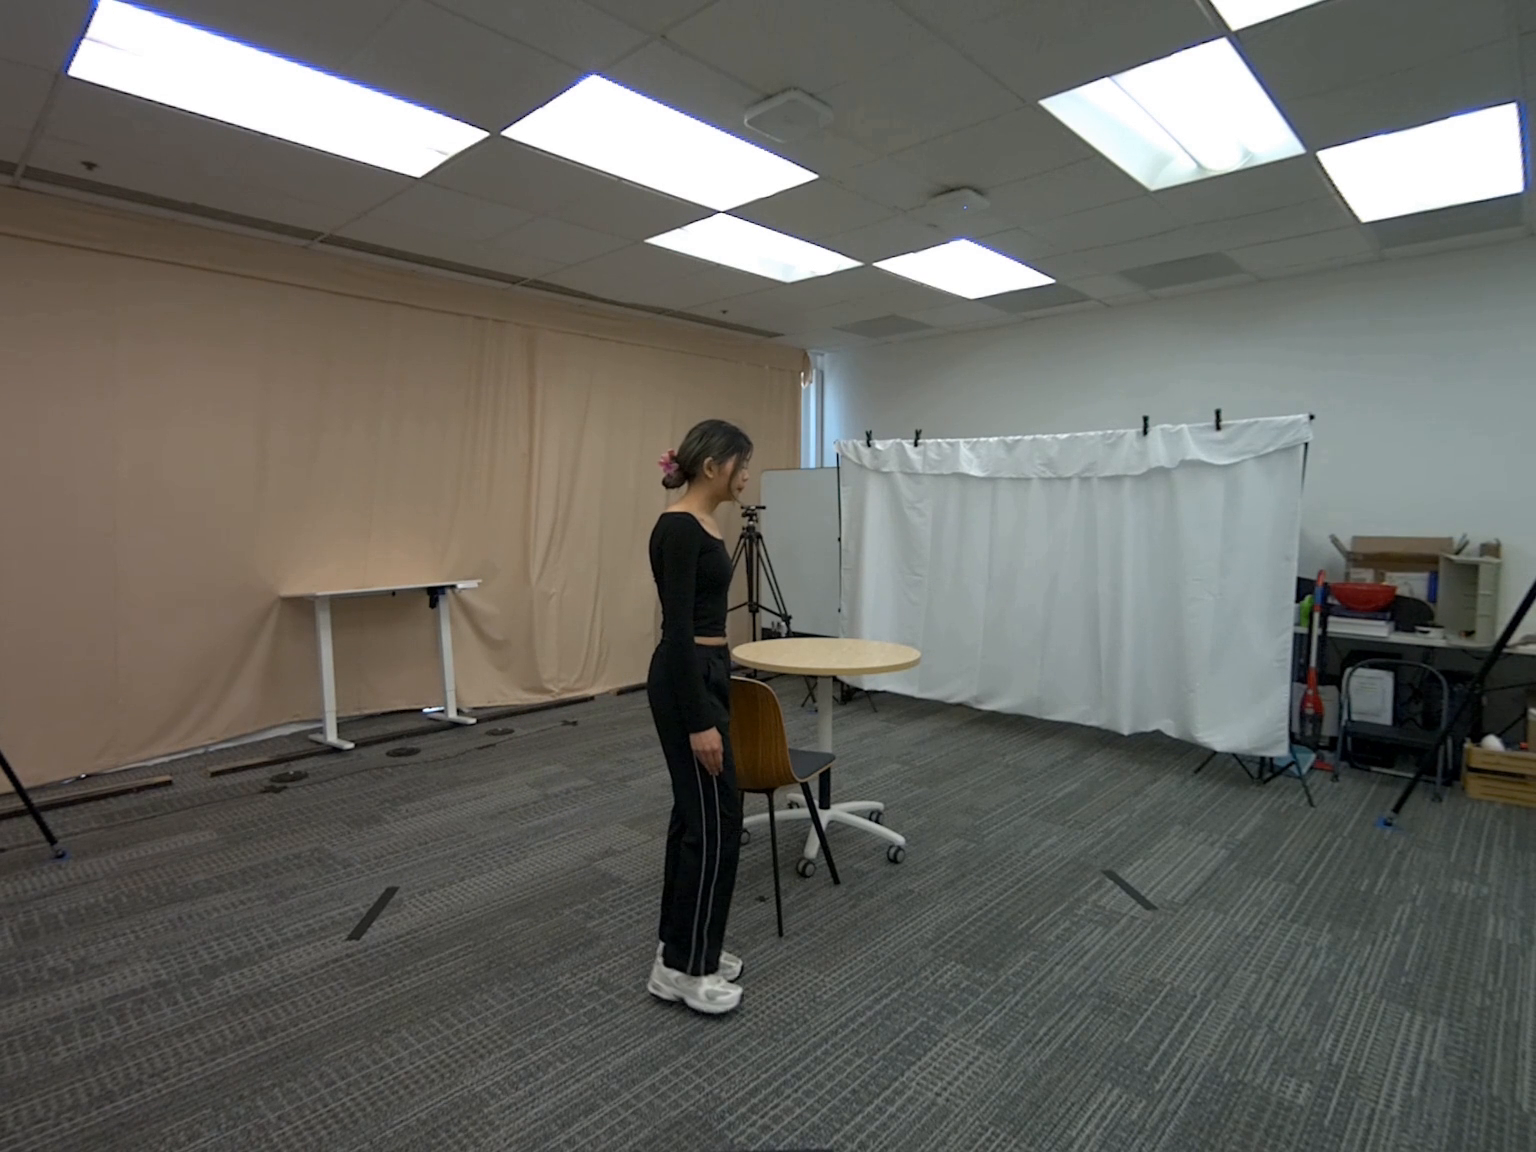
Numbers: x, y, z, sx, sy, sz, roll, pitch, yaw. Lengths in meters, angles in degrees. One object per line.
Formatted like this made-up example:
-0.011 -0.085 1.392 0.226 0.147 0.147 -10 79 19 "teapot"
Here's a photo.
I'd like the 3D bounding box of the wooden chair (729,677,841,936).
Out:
-0.036 0.715 3.000 0.492 0.873 0.510 2 8 32 "wooden chair"
